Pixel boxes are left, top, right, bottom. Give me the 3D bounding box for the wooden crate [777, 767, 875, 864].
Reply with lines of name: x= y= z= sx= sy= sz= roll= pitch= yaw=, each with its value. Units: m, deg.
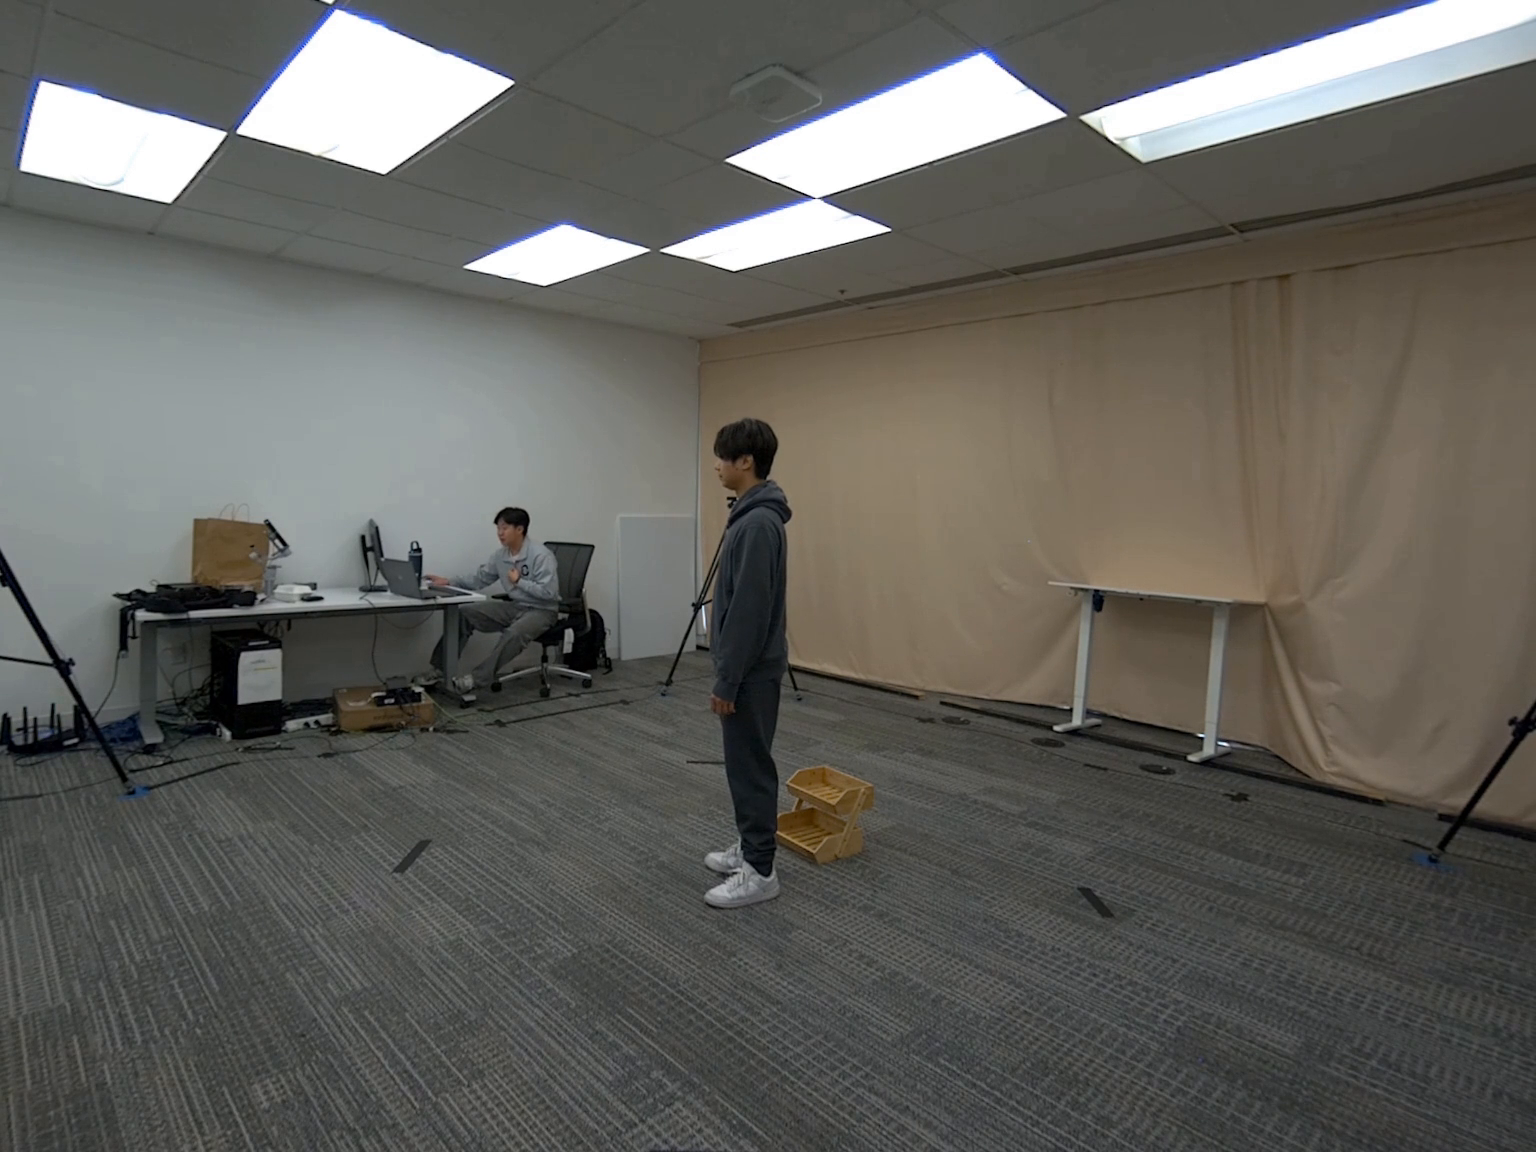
wooden crate: x=0.202 y=0.953 z=3.412 sx=0.295 sy=0.273 sz=0.332 roll=0 pitch=4 yaw=-37
